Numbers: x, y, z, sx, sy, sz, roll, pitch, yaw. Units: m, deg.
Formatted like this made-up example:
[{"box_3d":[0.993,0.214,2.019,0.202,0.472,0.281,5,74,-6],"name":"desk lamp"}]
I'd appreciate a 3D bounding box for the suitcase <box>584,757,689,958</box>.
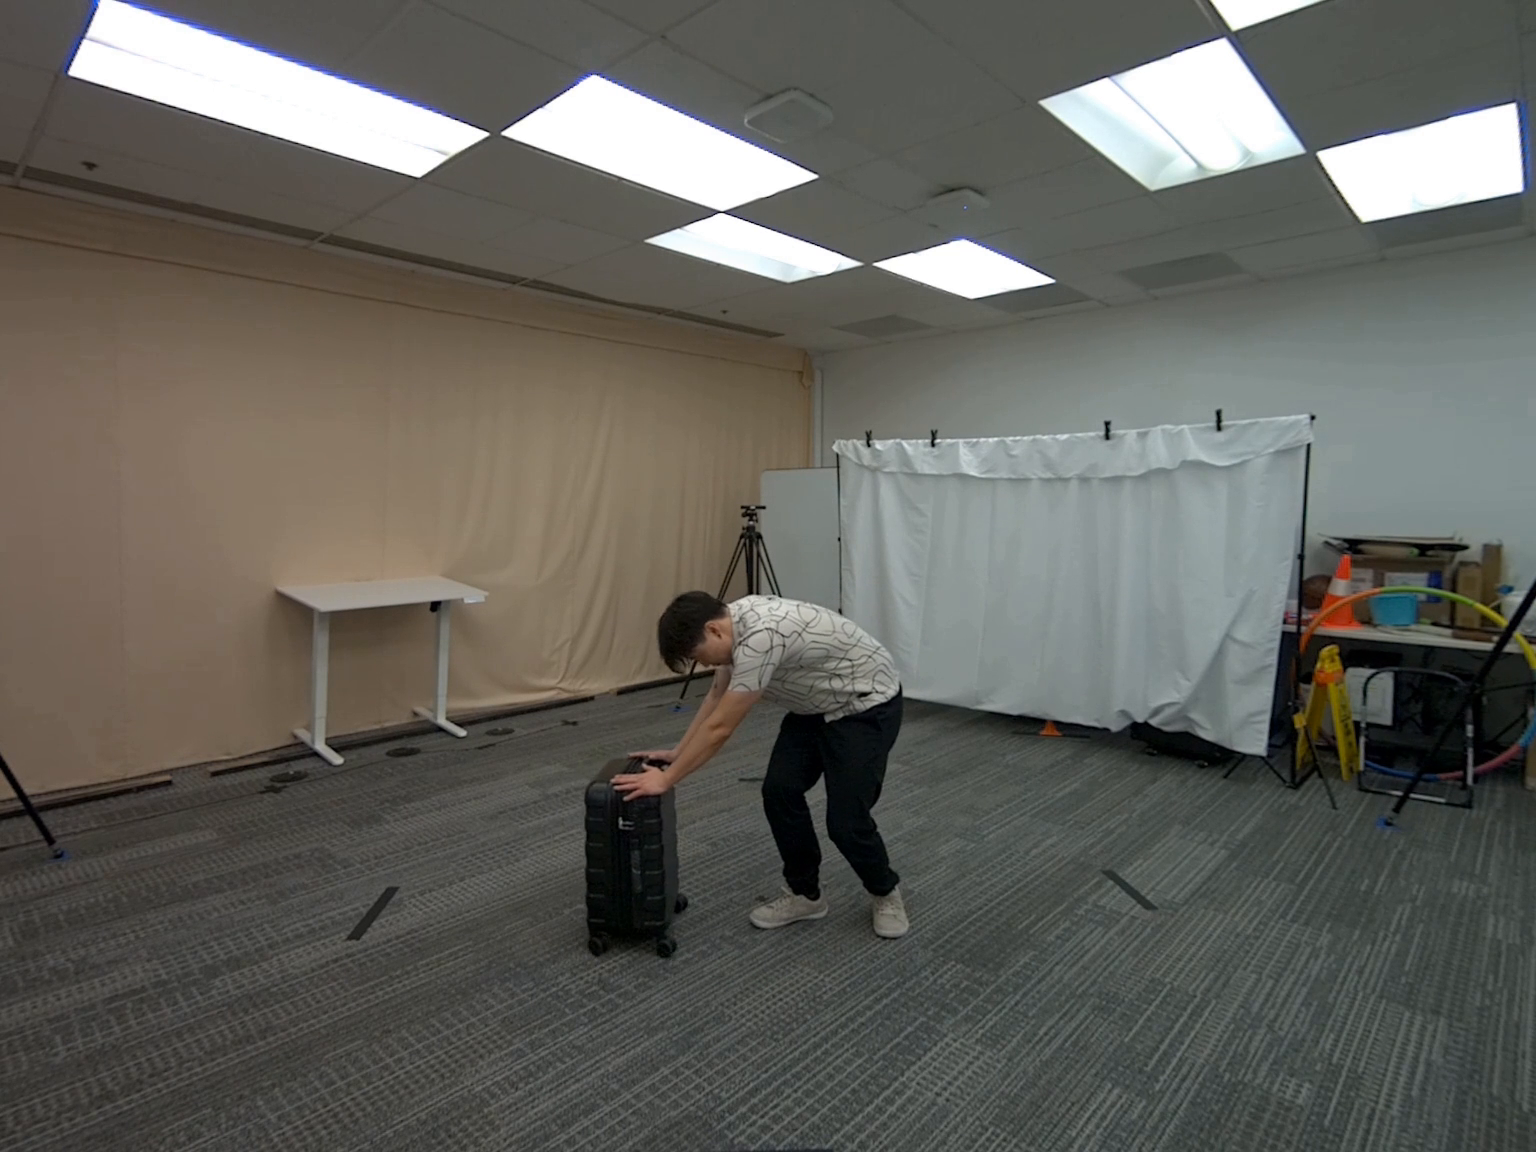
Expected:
[{"box_3d":[-0.435,0.896,2.759,0.250,0.549,0.374,-2,2,4],"name":"suitcase"}]
